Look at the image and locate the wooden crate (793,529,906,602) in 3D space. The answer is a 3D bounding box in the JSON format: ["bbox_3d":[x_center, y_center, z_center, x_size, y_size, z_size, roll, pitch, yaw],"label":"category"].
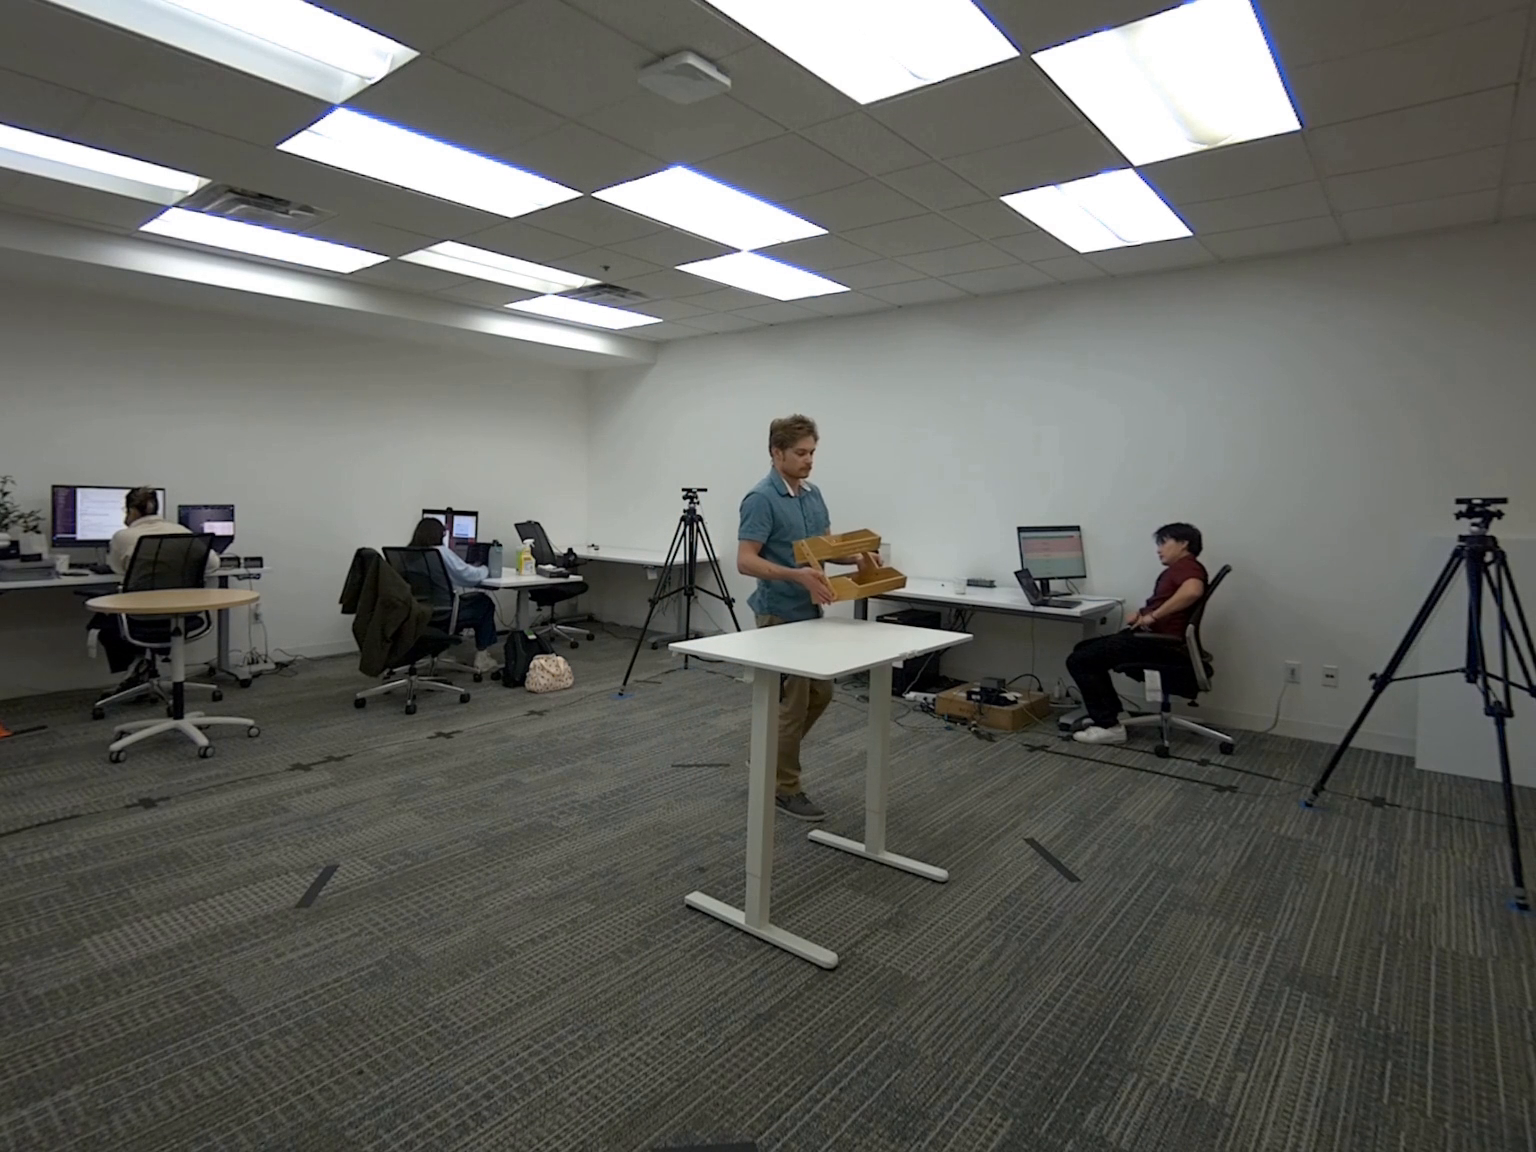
[{"bbox_3d":[0.321,-0.056,3.409,0.316,0.274,0.309,-9,-1,-41],"label":"wooden crate"}]
